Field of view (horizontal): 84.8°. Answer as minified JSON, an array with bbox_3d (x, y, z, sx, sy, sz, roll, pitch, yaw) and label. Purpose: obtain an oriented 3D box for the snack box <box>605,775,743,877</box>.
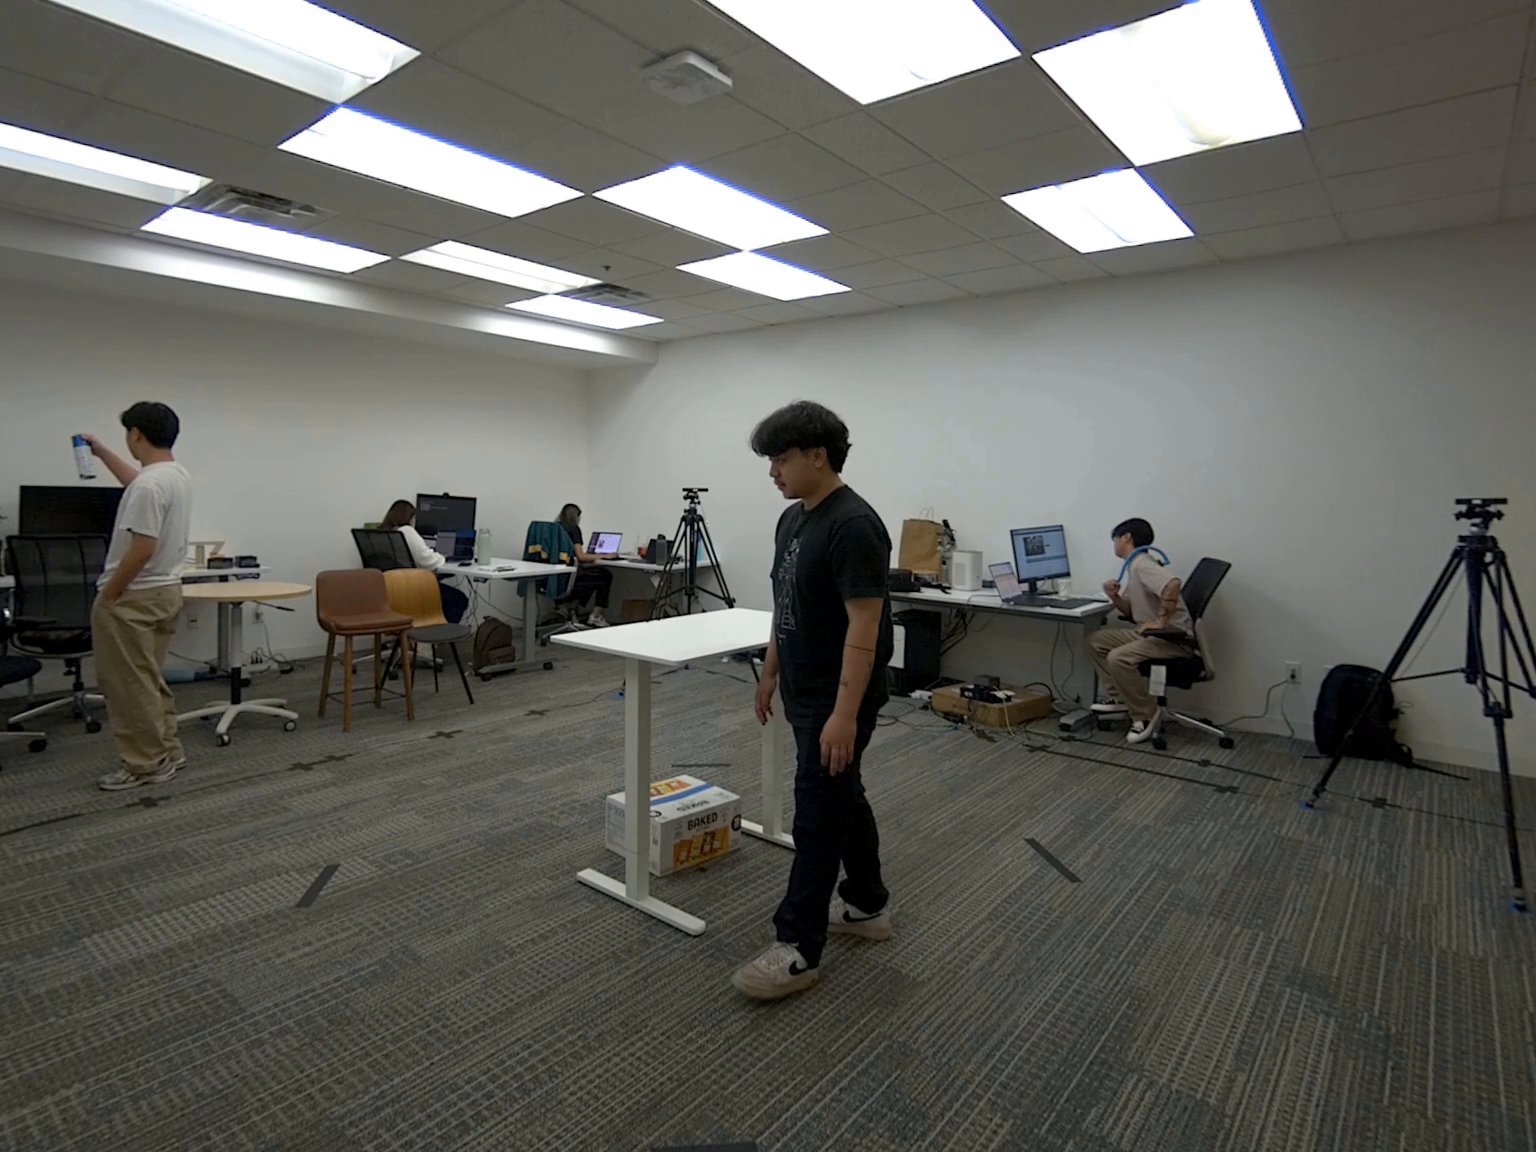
[{"bbox_3d":[-0.372,0.951,3.279,0.393,0.205,0.352,-4,7,-45],"label":"snack box"}]
